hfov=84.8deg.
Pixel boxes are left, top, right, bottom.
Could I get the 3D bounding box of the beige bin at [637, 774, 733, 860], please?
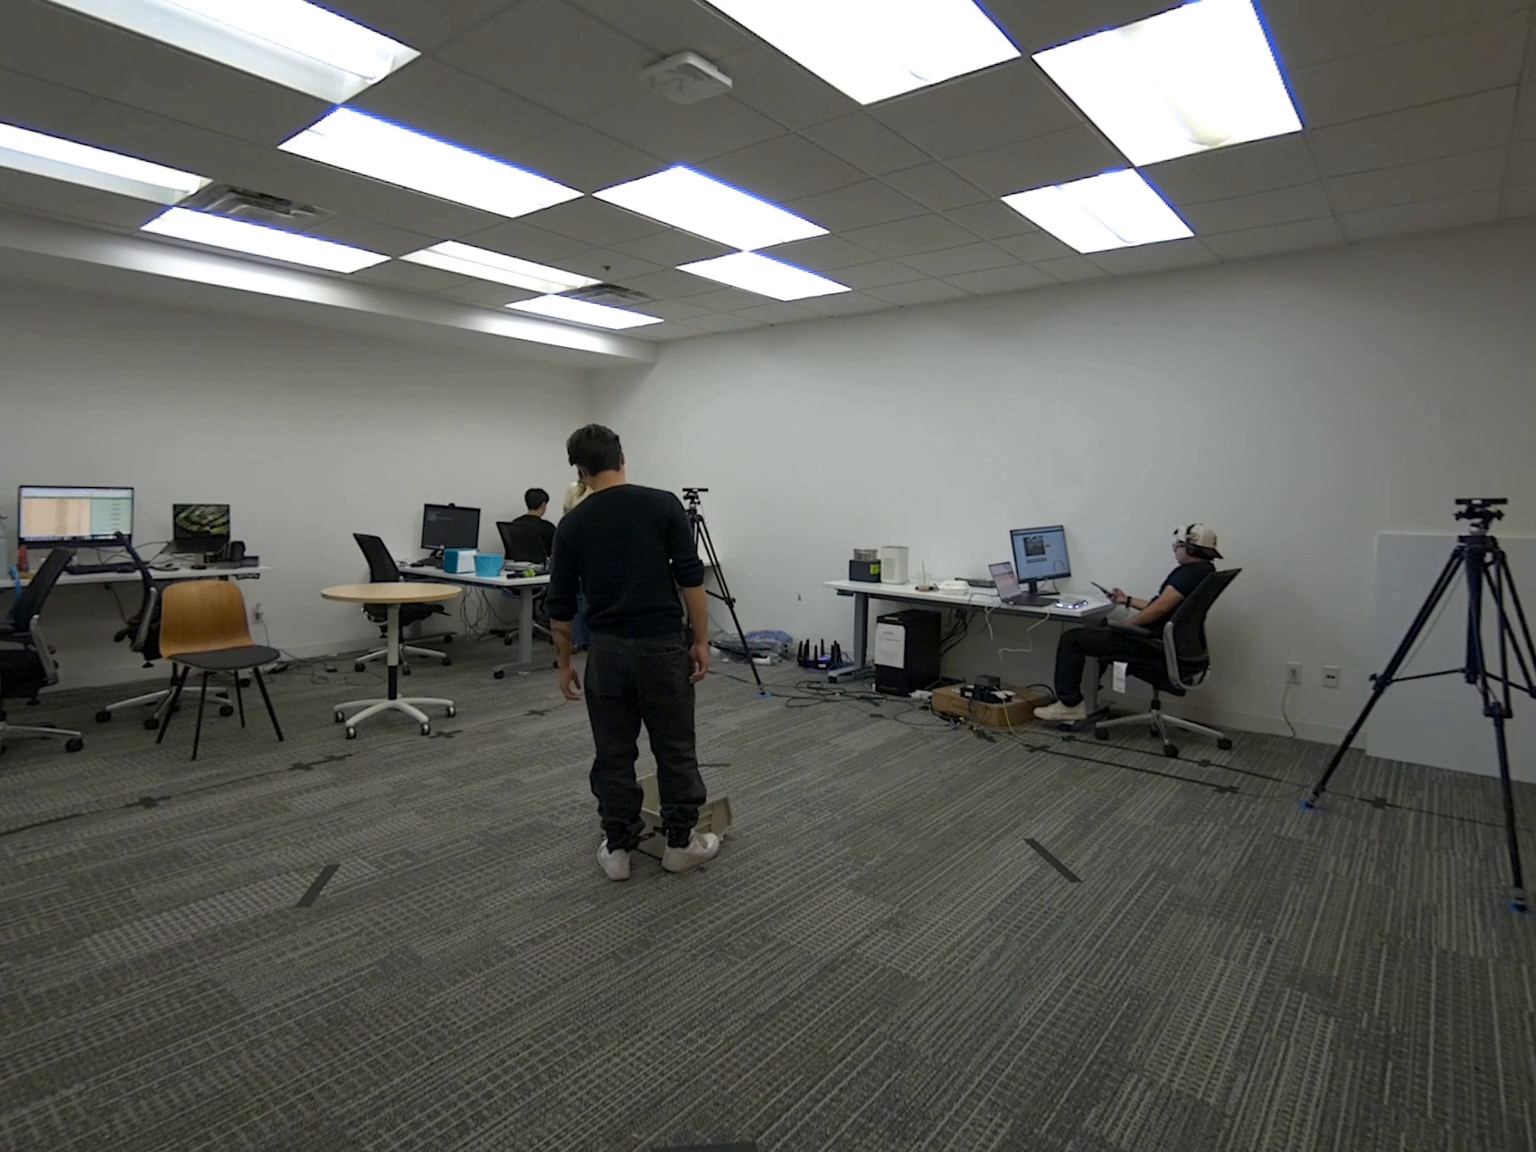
[{"bbox_3d":[-0.428,0.948,3.406,0.437,0.188,0.367,6,9,39],"label":"beige bin"}]
